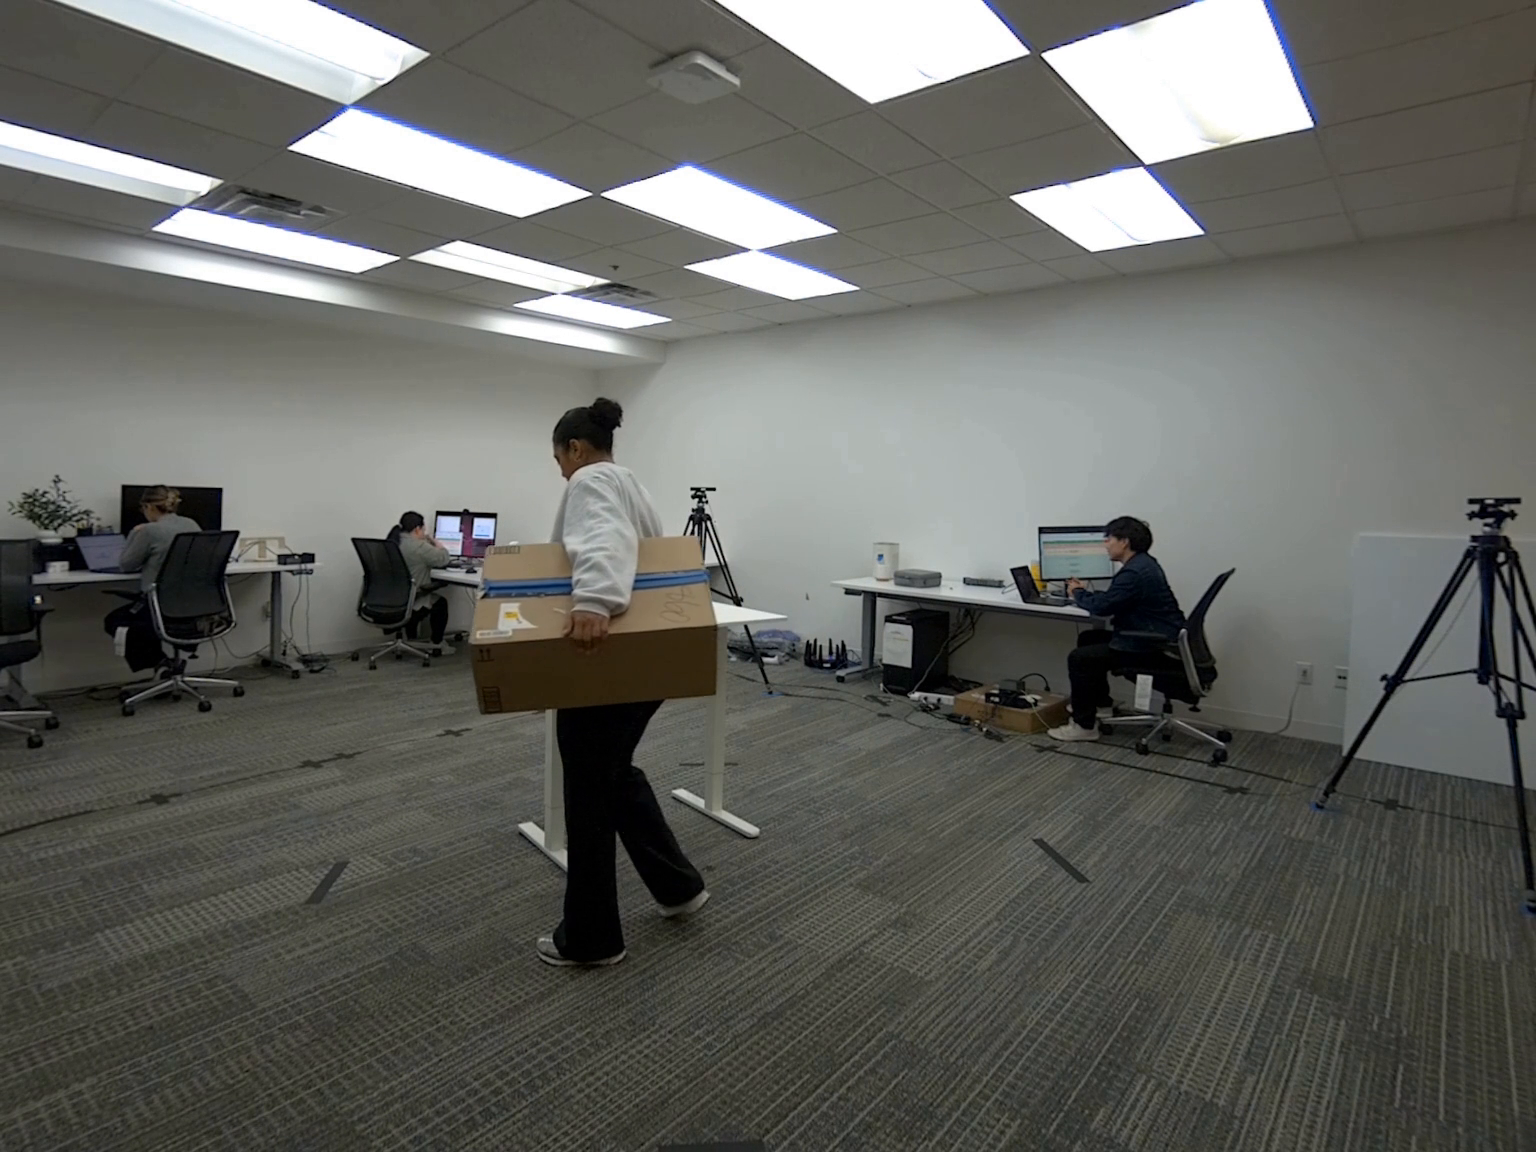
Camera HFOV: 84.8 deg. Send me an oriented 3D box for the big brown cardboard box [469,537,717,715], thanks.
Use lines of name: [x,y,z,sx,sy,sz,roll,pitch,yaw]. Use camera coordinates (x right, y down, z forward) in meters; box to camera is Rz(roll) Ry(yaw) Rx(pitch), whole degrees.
big brown cardboard box: [-0.450,0.098,2.162,0.584,0.227,0.431,-4,33,-8]
